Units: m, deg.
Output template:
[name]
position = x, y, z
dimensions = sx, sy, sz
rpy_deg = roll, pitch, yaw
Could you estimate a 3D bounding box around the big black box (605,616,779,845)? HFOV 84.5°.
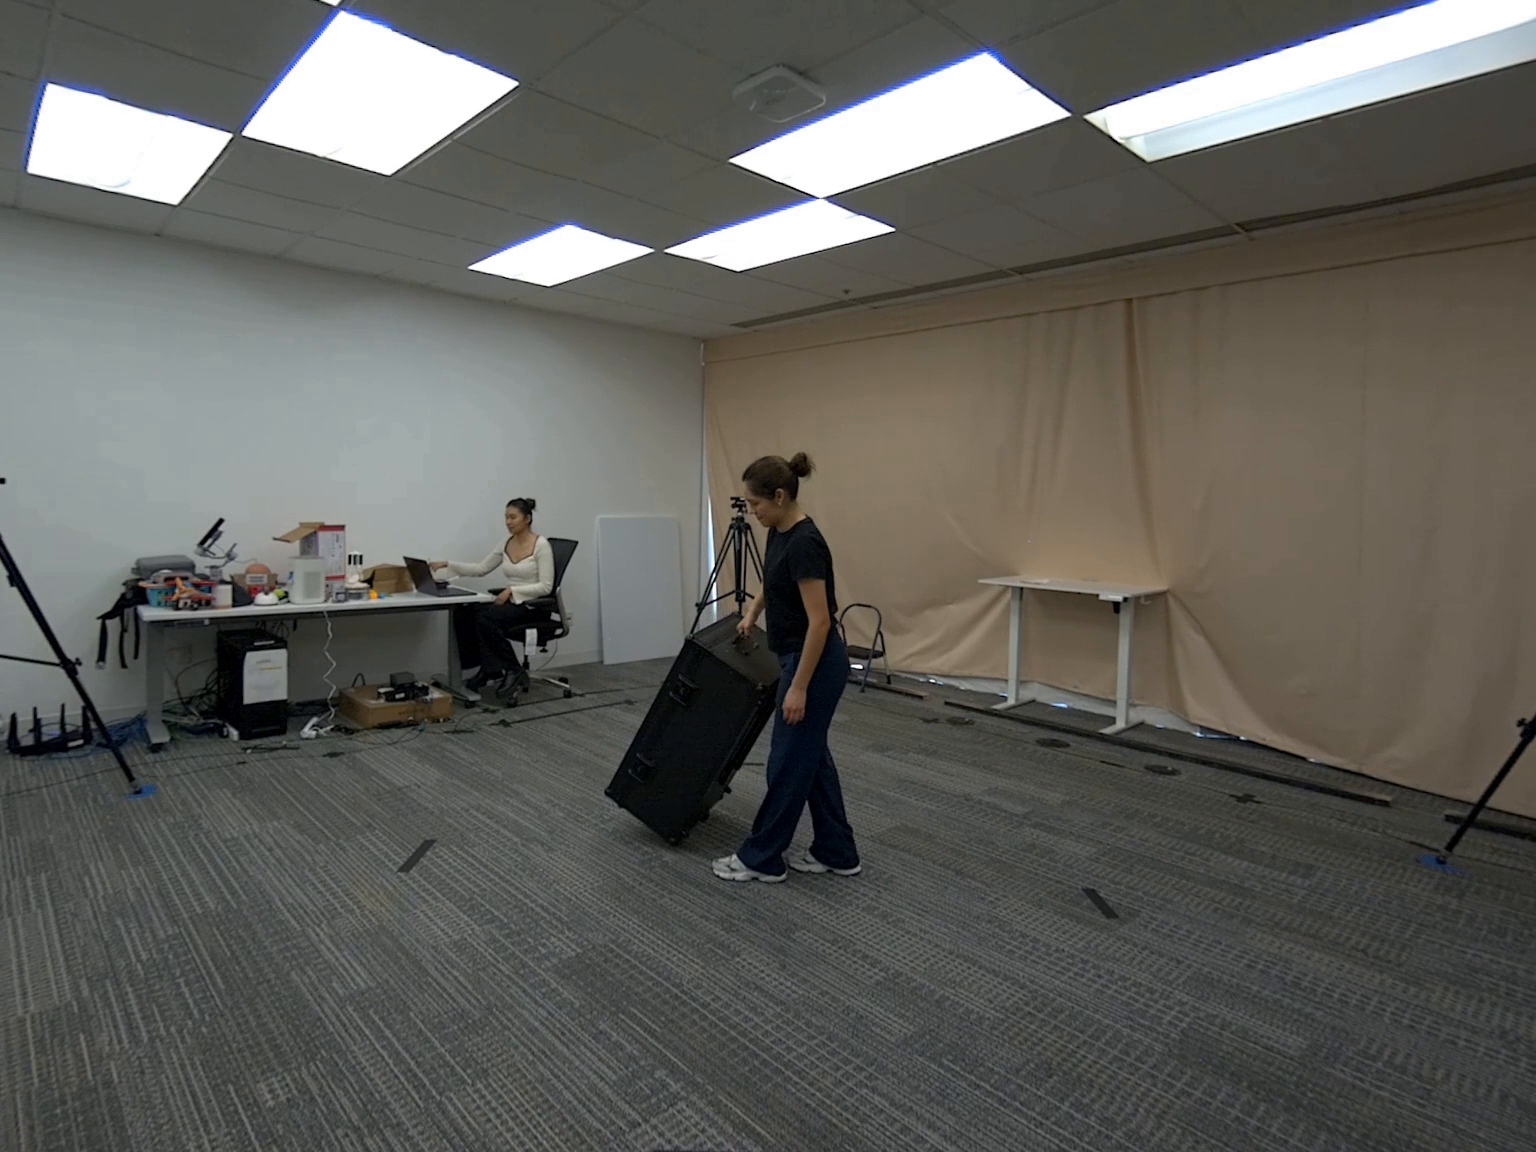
[big black box]
position = -0.260, 0.642, 3.437
dimensions = 0.402, 0.857, 0.516
rpy_deg = 33, 18, 12
